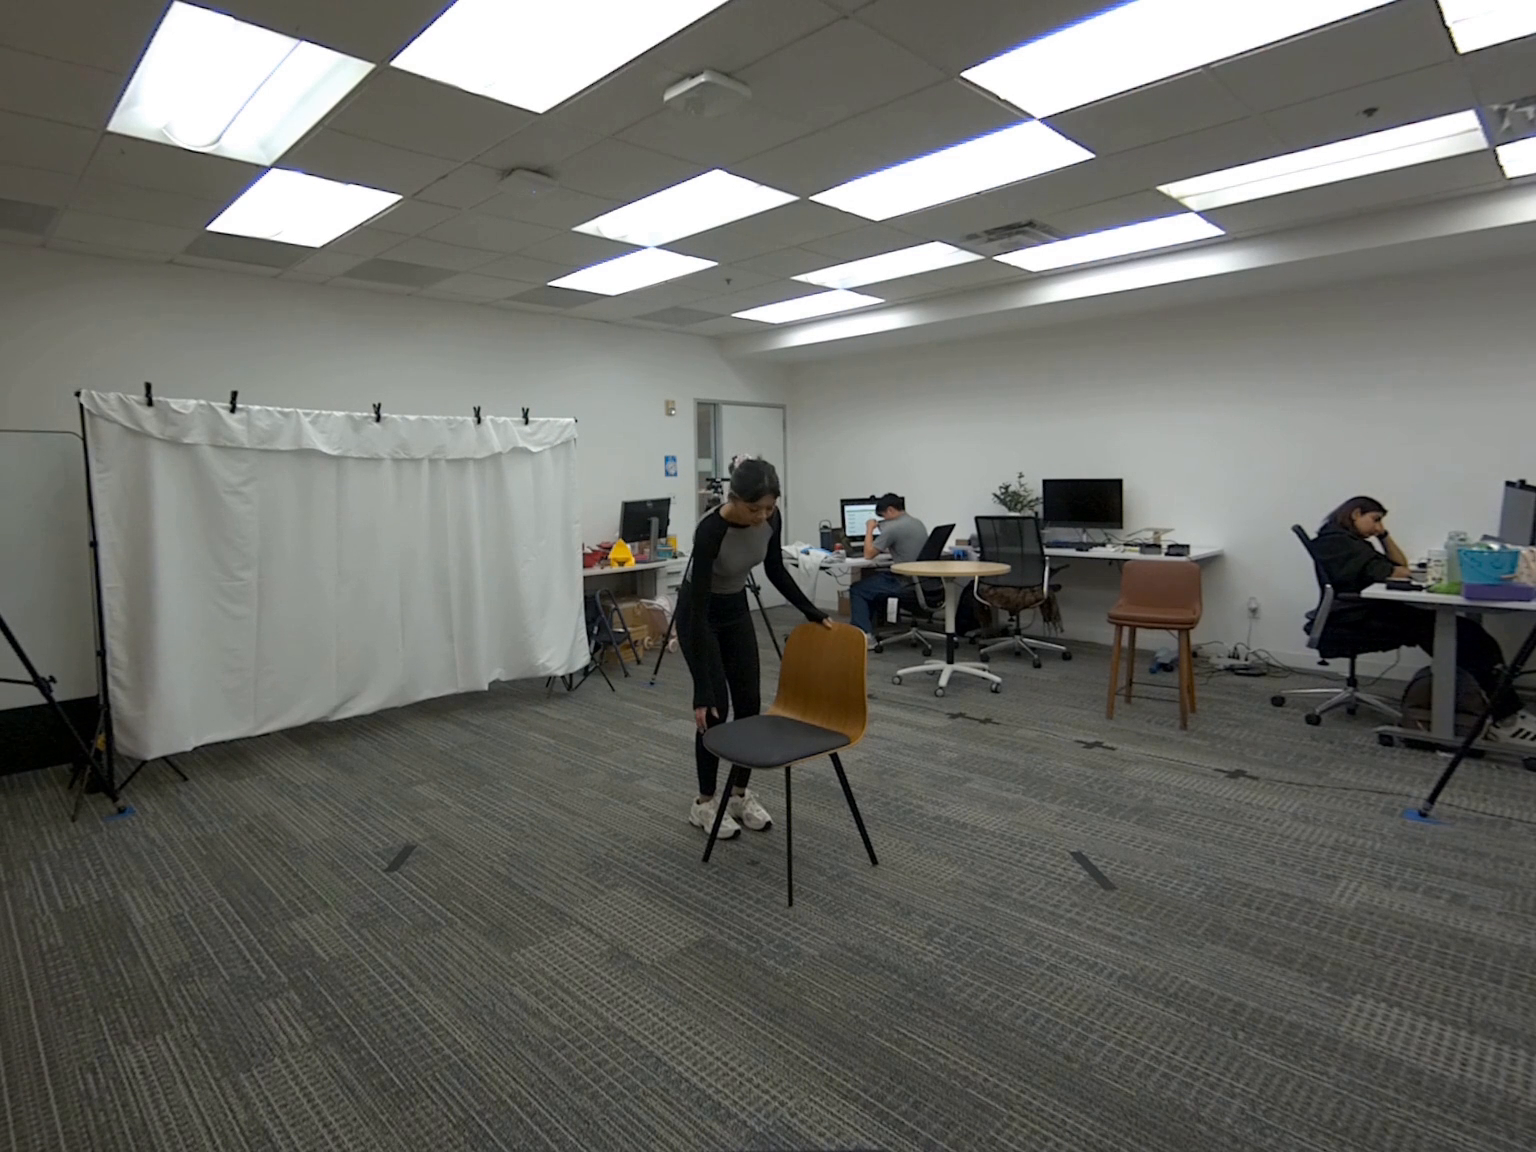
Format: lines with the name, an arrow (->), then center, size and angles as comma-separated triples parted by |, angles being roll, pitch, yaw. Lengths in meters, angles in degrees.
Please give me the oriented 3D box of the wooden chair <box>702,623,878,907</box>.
wooden chair -> 0.063, 0.614, 3.052 | 0.508, 0.877, 0.493 | 1, 1, -43
